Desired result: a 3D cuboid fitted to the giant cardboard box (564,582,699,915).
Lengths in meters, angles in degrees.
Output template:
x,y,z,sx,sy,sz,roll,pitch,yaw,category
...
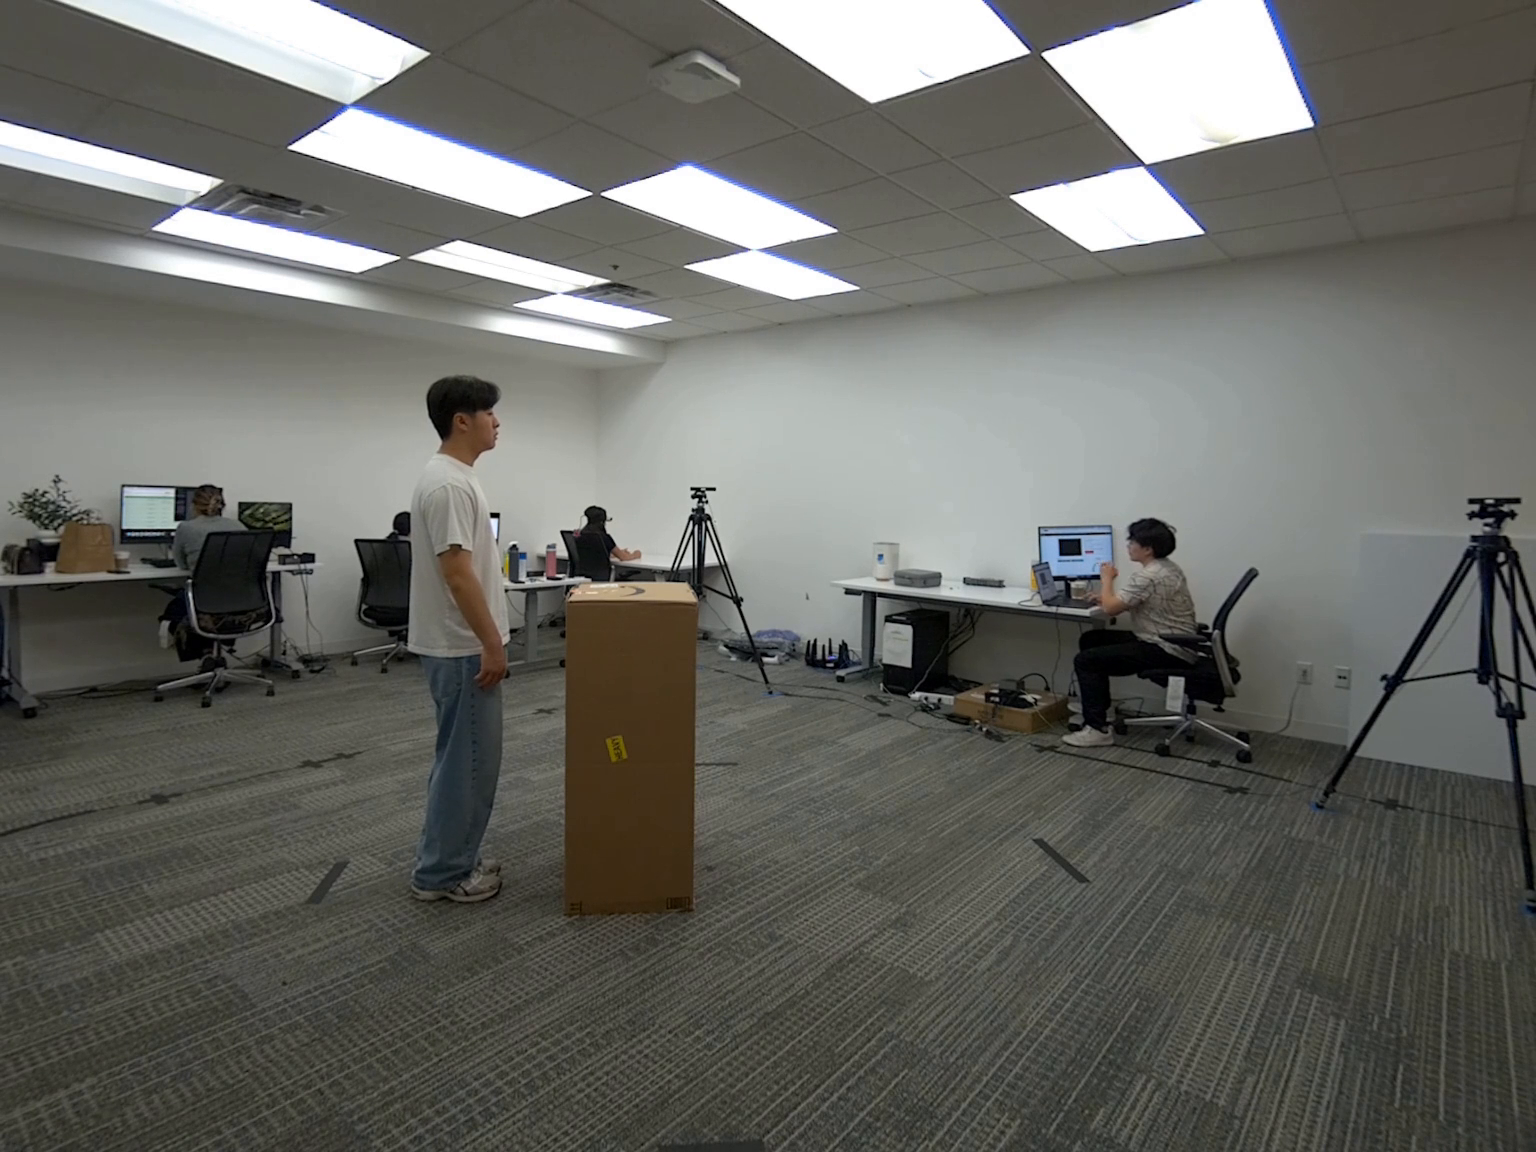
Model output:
x,y,z,sx,sy,sz,roll,pitch,yaw,category
-0.499,0.563,3.023,0.423,1.023,0.584,0,3,-8,giant cardboard box
